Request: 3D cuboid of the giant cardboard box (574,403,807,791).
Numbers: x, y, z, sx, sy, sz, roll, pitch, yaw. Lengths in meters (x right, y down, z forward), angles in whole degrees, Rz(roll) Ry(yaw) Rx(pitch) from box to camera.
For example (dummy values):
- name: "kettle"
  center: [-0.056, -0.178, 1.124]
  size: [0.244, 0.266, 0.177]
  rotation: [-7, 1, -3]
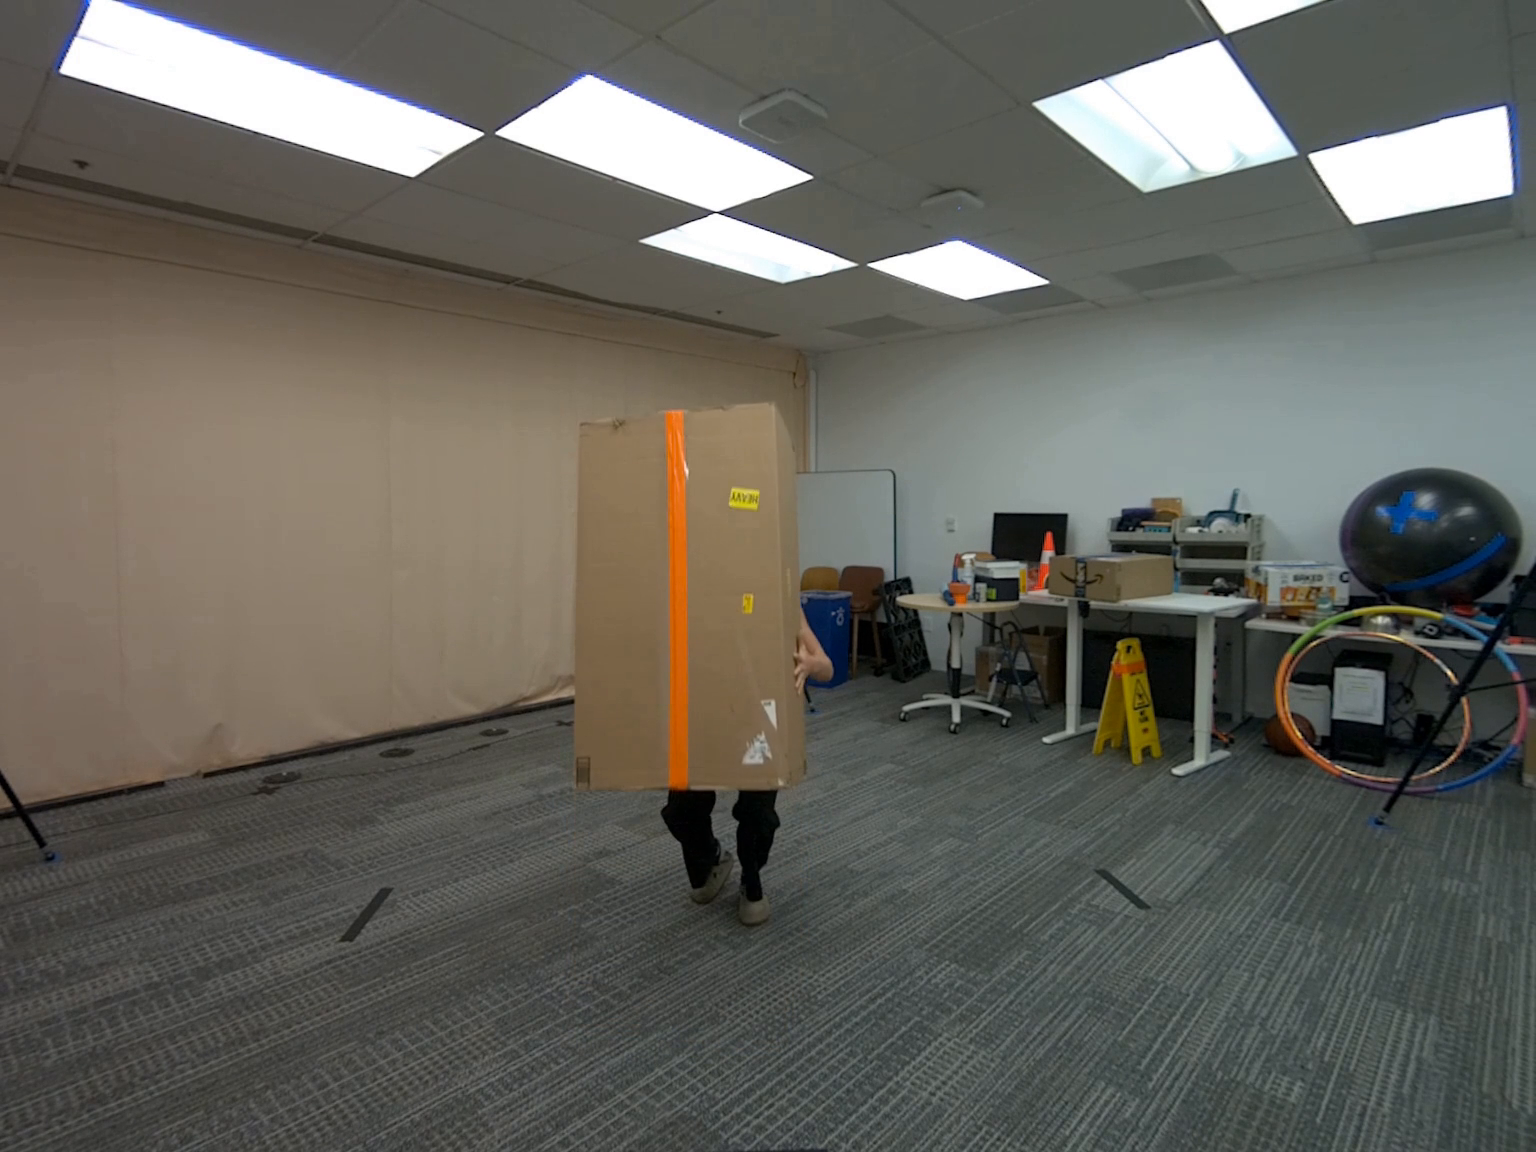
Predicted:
- name: "giant cardboard box"
  center: [-0.212, 0.080, 2.457]
  size: [0.585, 1.033, 0.418]
  rotation: [-4, -11, 12]
